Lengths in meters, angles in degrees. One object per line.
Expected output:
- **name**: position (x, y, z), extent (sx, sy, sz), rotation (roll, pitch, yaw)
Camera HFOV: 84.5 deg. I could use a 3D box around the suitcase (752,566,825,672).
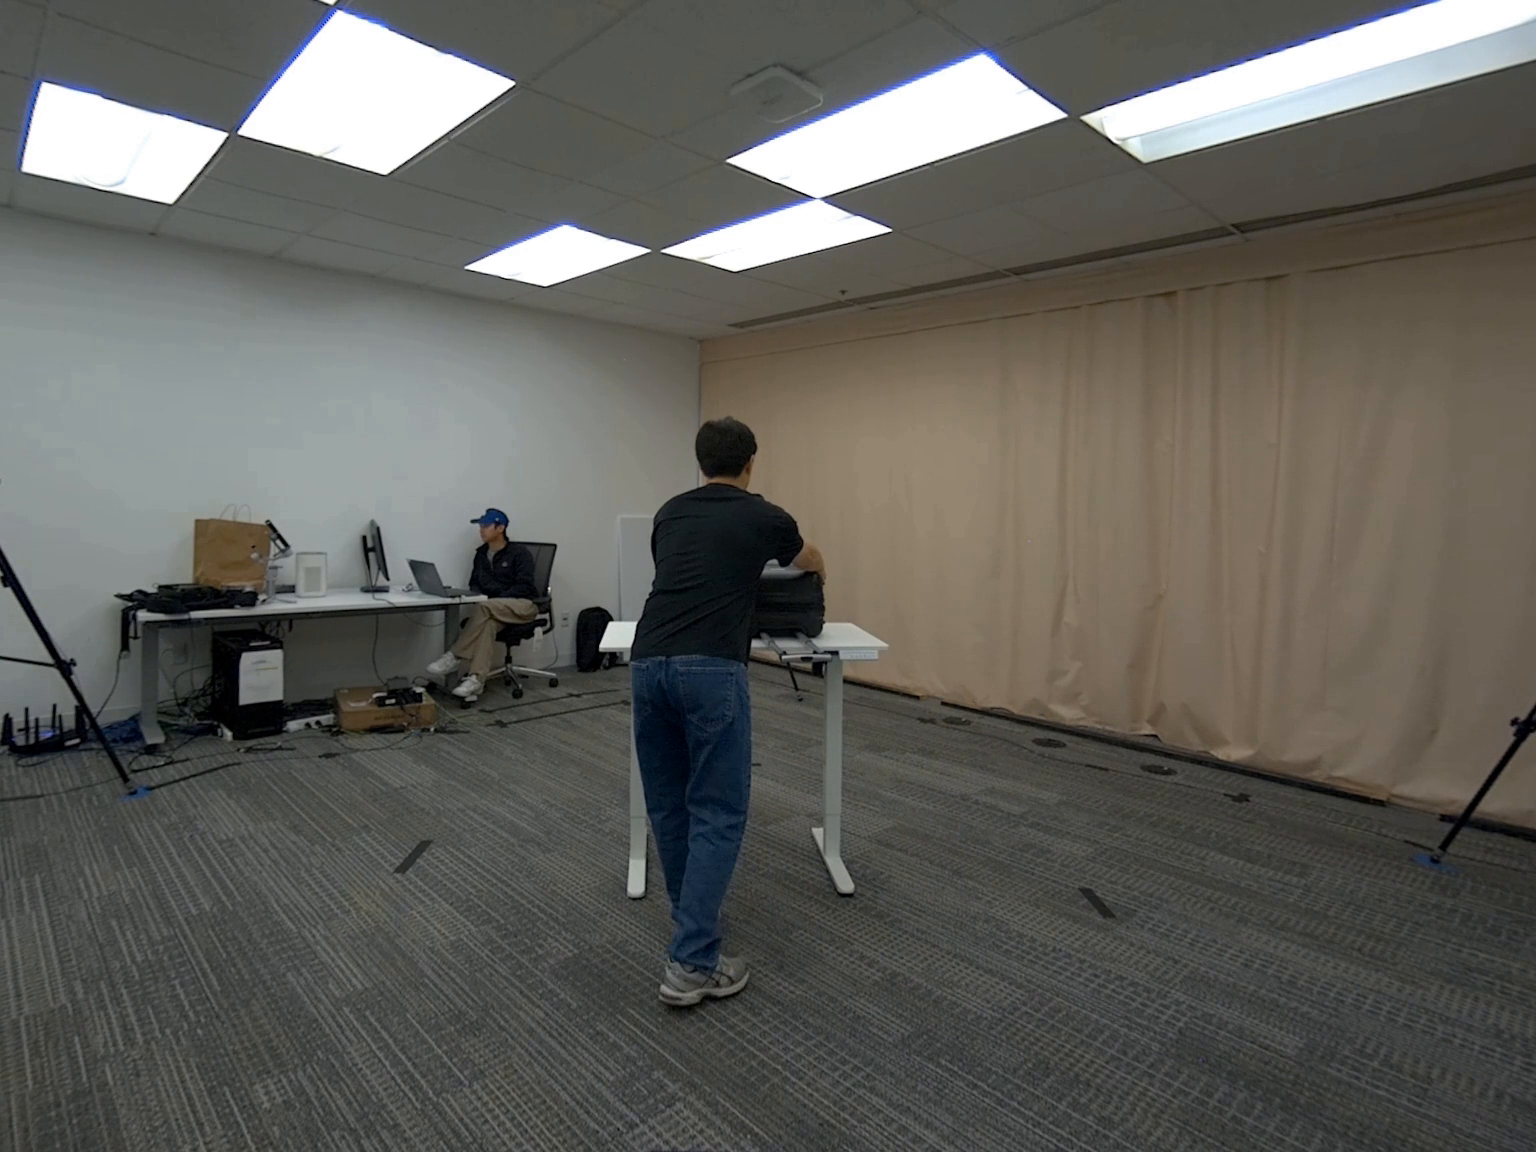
- **suitcase**: position (0.041, 0.106, 3.091), extent (0.382, 0.256, 0.986), rotation (0, 4, -8)
